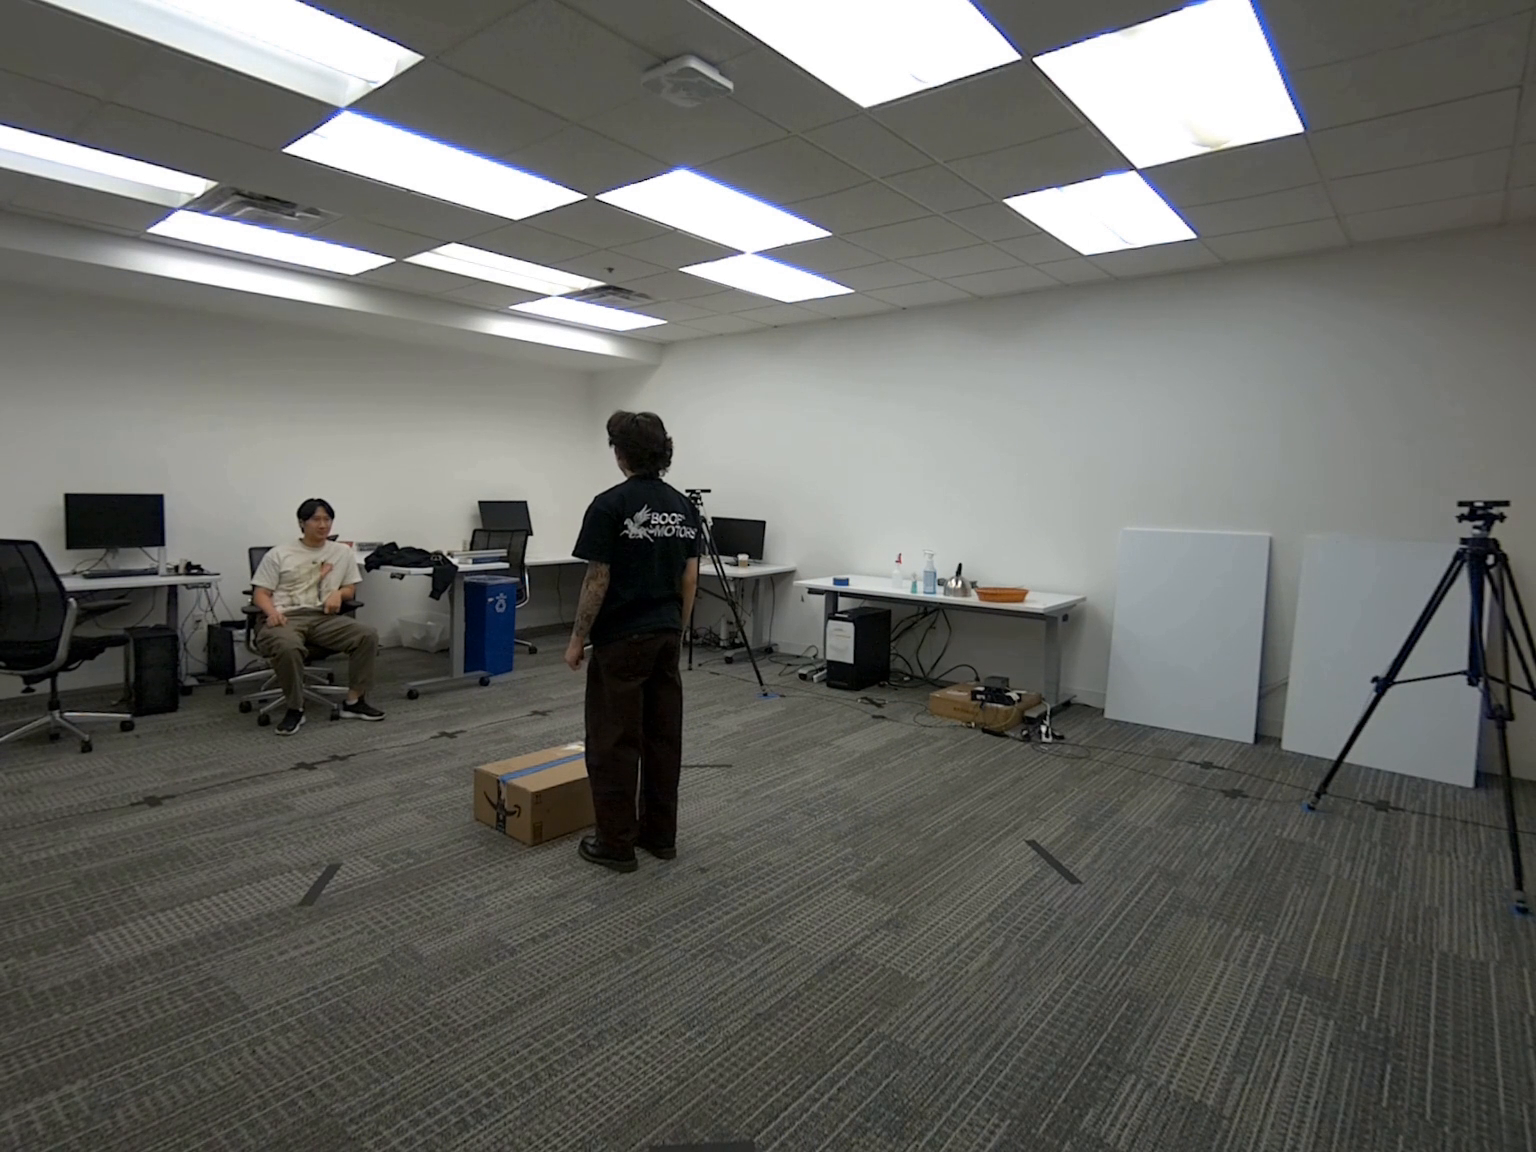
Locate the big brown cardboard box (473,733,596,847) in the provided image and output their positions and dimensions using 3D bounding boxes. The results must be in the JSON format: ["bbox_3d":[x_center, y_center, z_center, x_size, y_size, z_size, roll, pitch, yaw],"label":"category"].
[{"bbox_3d":[-0.897,0.897,3.621,0.431,0.232,0.572,5,7,40],"label":"big brown cardboard box"}]
